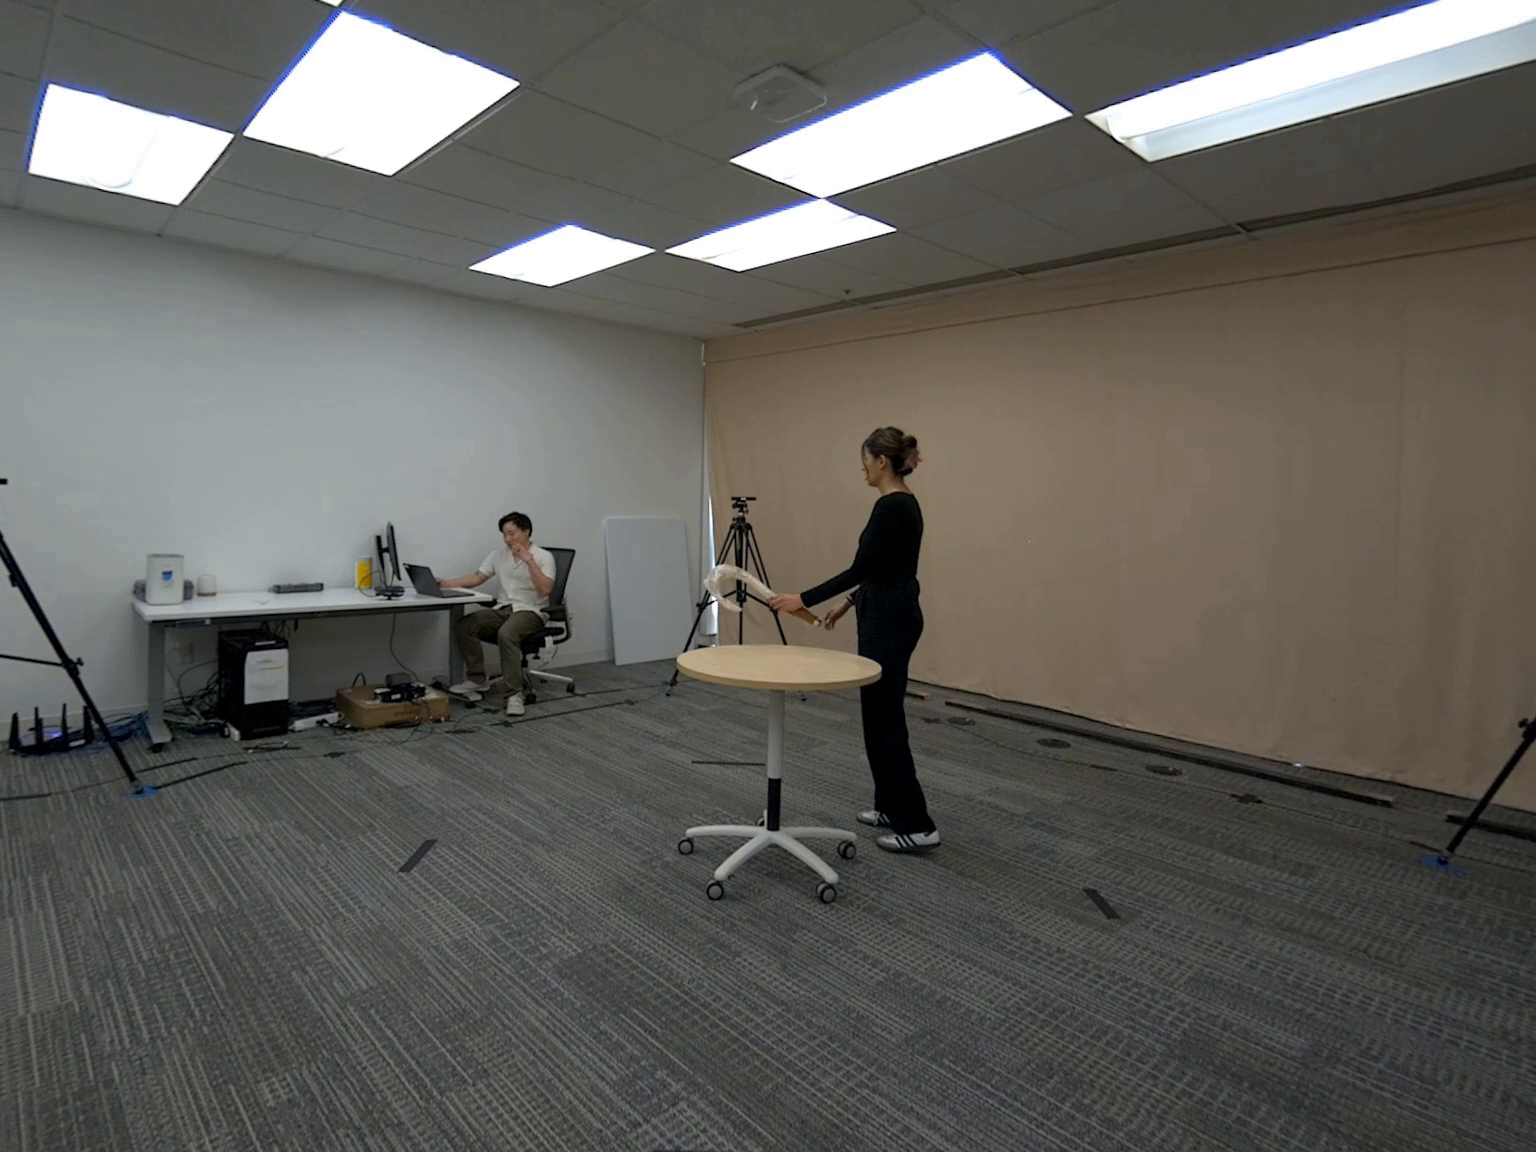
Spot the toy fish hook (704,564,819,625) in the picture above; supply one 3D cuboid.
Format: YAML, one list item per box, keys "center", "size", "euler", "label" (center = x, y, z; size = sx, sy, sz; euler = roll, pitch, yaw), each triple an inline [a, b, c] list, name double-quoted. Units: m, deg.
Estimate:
- center: [-0.011, 0.123, 3.465]
  size: [0.509, 0.226, 0.048]
  euler: [27, -39, 4]
  label: "toy fish hook"
